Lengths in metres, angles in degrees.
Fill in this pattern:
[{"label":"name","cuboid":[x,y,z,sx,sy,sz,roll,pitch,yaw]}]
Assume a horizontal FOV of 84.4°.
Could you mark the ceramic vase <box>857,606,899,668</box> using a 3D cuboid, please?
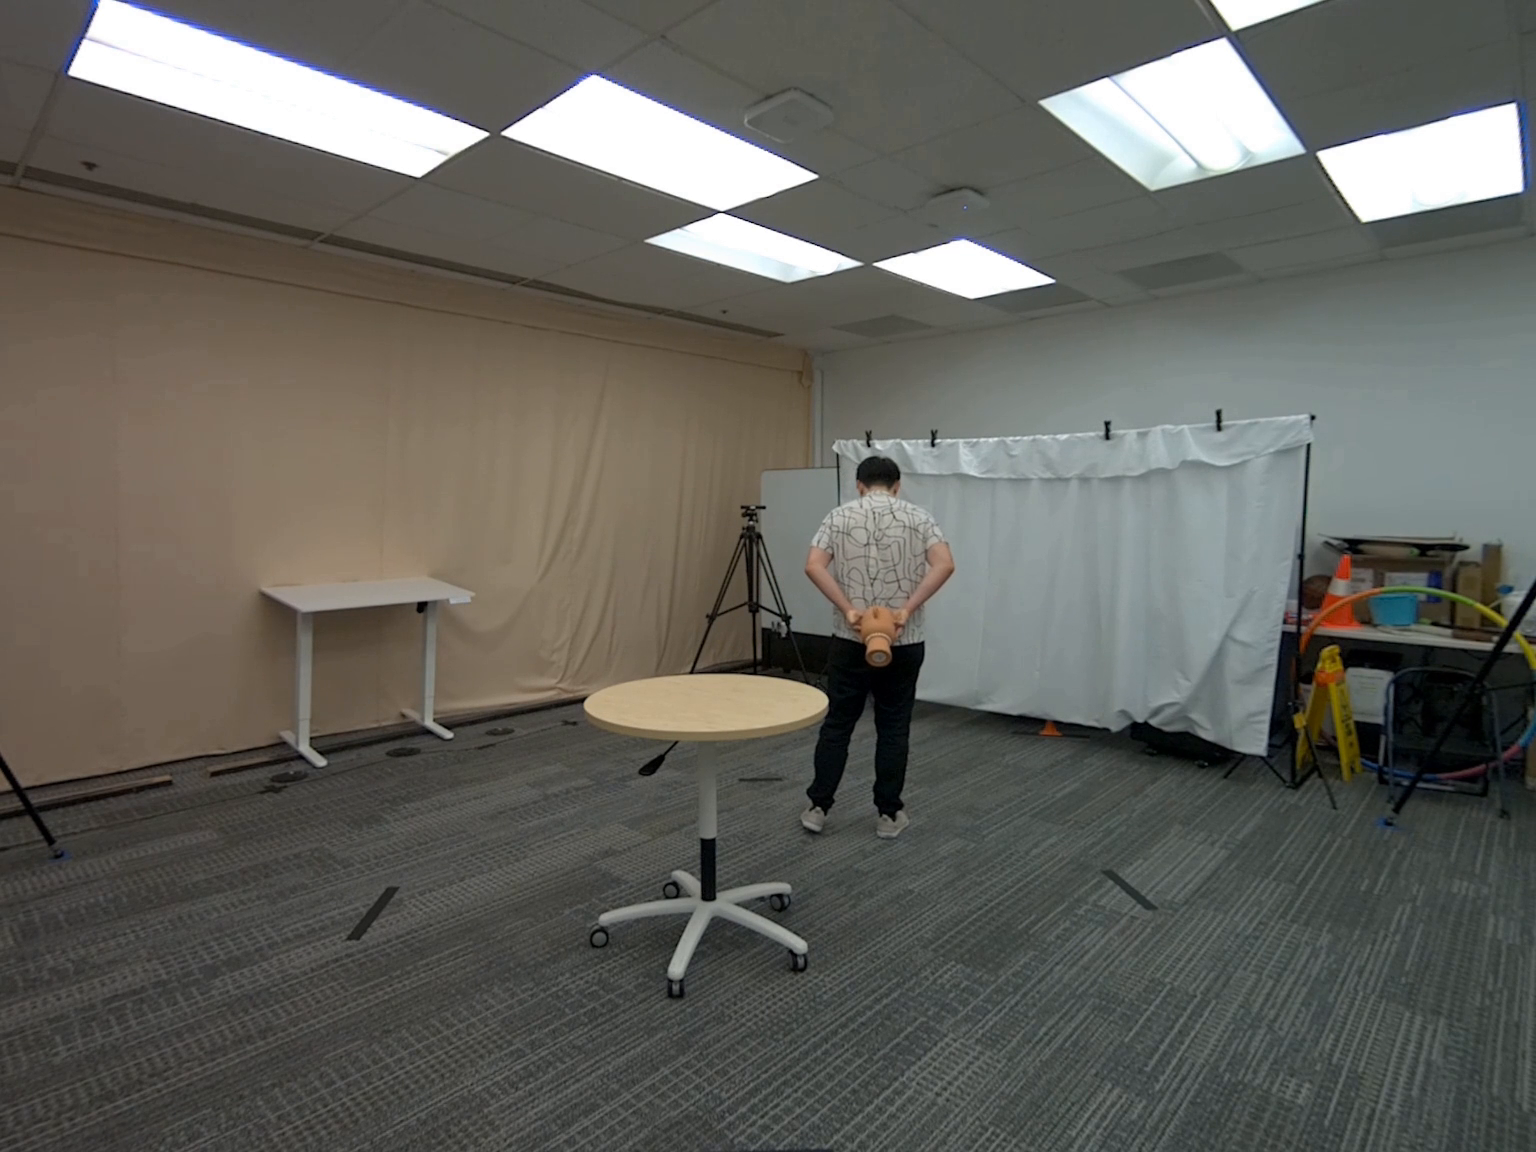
[{"label":"ceramic vase","cuboid":[0.434,0.239,3.283,0.155,0.136,0.223,32,35,-21]}]
